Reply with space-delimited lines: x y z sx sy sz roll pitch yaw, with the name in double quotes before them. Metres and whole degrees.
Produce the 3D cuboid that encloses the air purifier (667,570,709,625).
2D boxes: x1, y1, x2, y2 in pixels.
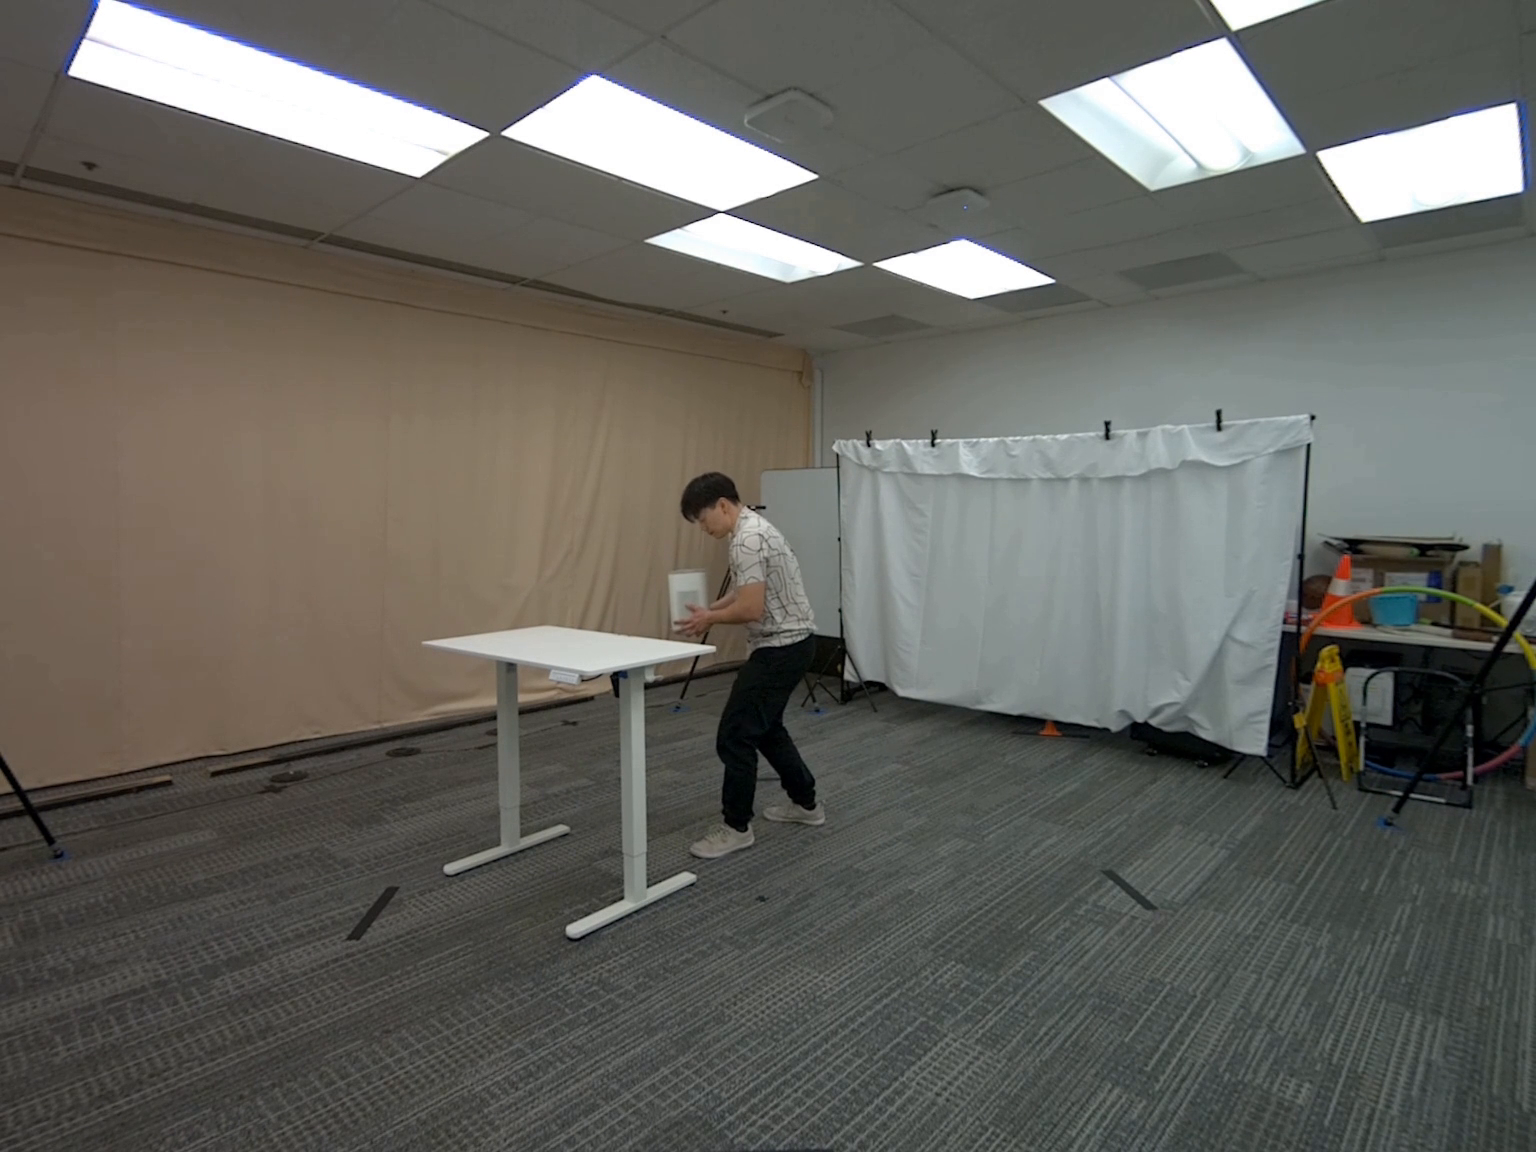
"air purifier" -0.337 0.111 3.617 0.171 0.264 0.172 -3 4 -3
